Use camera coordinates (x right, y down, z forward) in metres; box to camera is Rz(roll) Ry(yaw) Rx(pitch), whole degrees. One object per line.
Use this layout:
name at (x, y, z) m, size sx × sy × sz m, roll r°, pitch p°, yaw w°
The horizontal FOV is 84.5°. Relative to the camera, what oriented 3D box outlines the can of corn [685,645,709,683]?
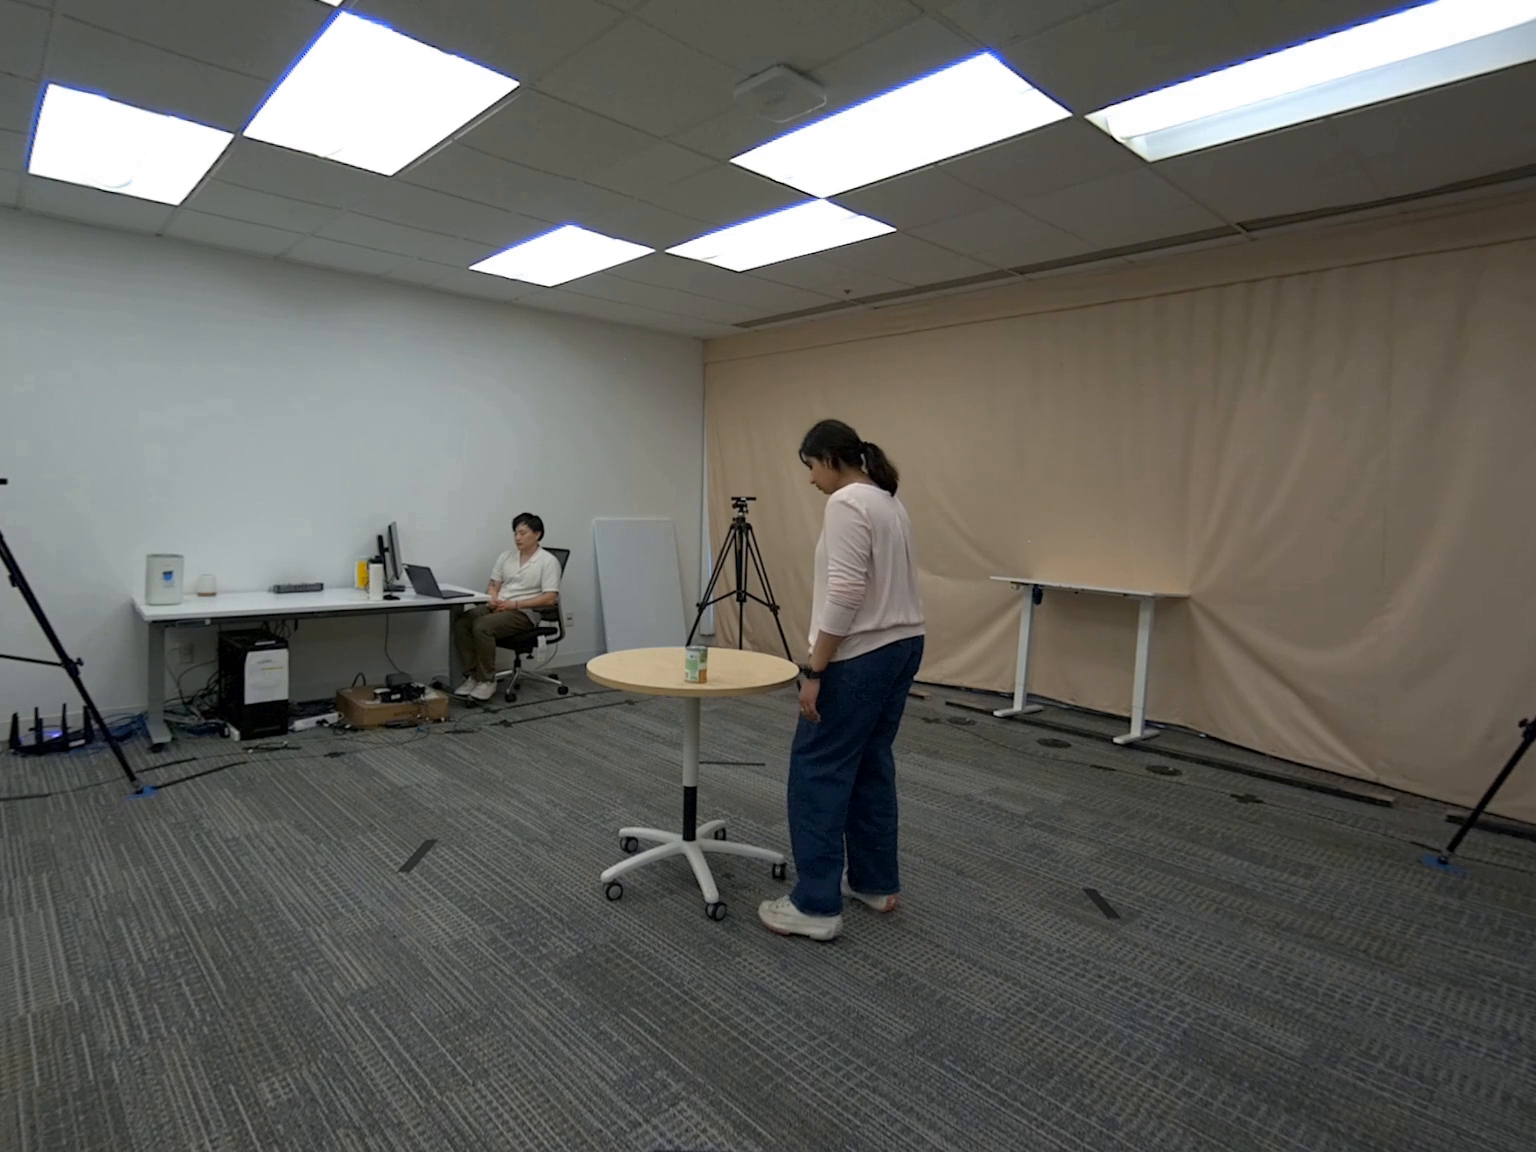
can of corn at (-0.239, 0.293, 2.785) m, size 0.074 × 0.111 × 0.074 m, roll 5°, pitch 2°, yaw -2°
